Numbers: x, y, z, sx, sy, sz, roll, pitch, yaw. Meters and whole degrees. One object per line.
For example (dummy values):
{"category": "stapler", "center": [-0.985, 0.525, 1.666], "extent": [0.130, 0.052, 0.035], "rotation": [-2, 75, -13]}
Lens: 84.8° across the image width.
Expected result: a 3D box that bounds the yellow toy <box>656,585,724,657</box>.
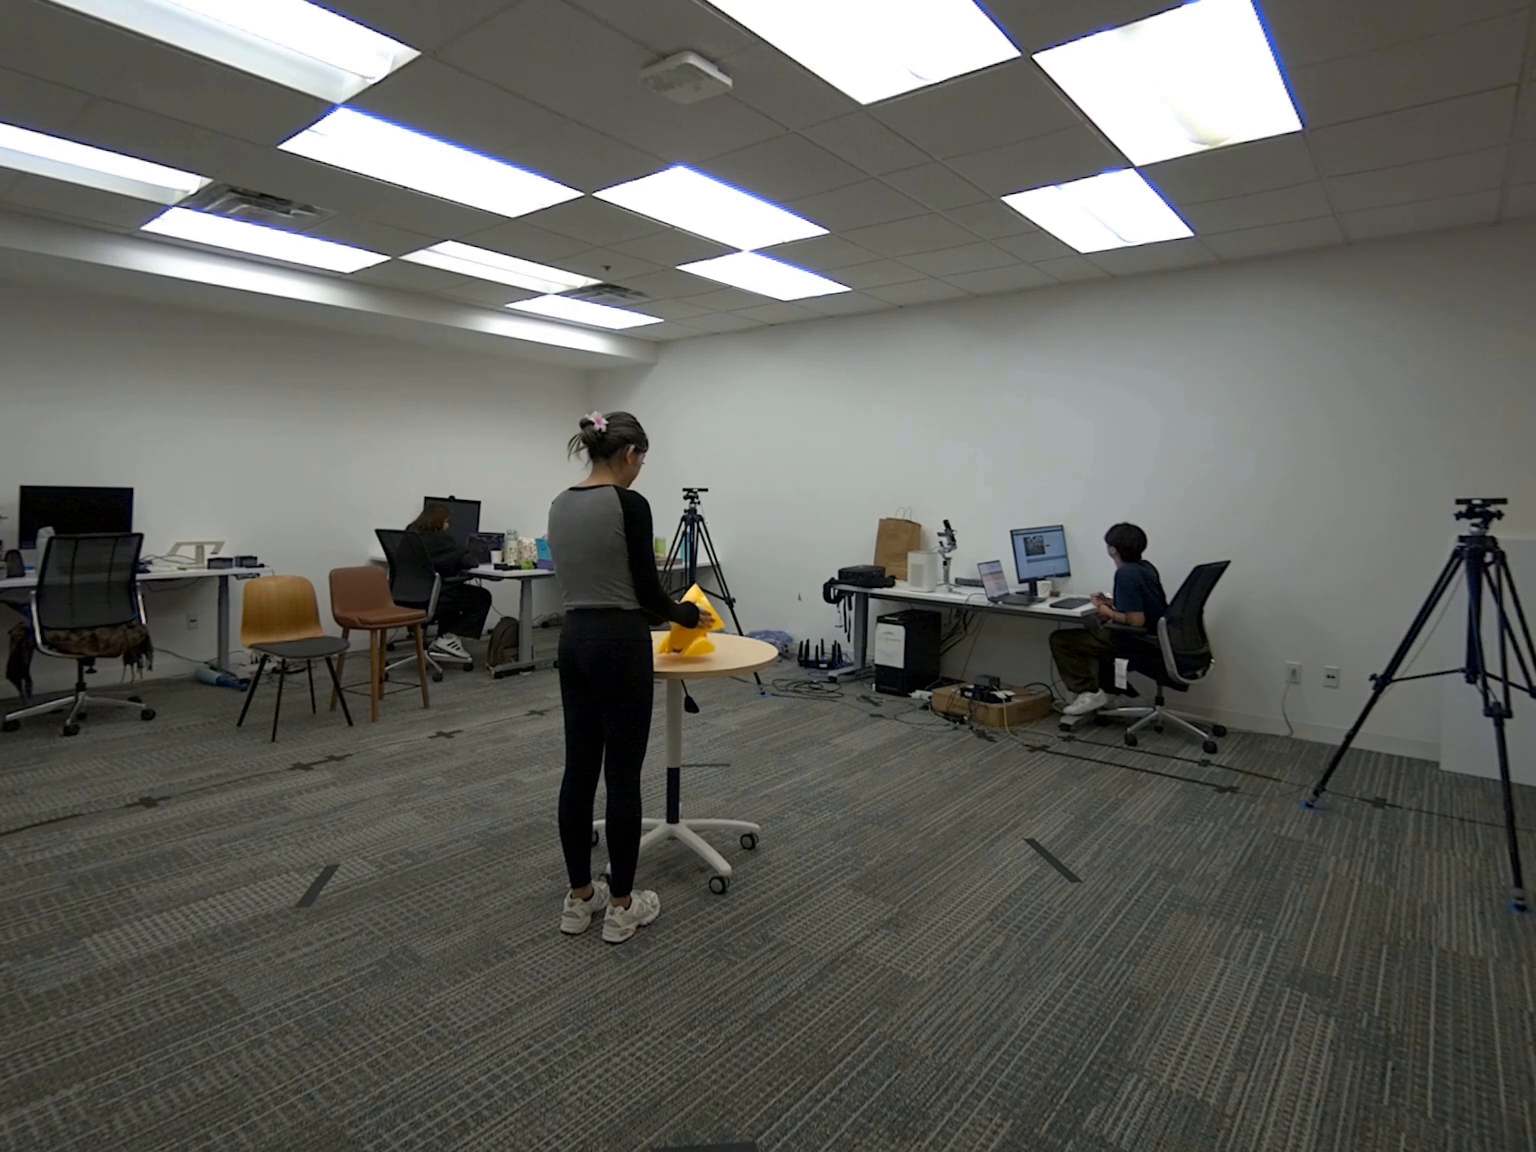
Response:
{"category": "yellow toy", "center": [-0.303, 0.148, 2.992], "extent": [0.211, 0.230, 0.188], "rotation": [0, 5, 38]}
